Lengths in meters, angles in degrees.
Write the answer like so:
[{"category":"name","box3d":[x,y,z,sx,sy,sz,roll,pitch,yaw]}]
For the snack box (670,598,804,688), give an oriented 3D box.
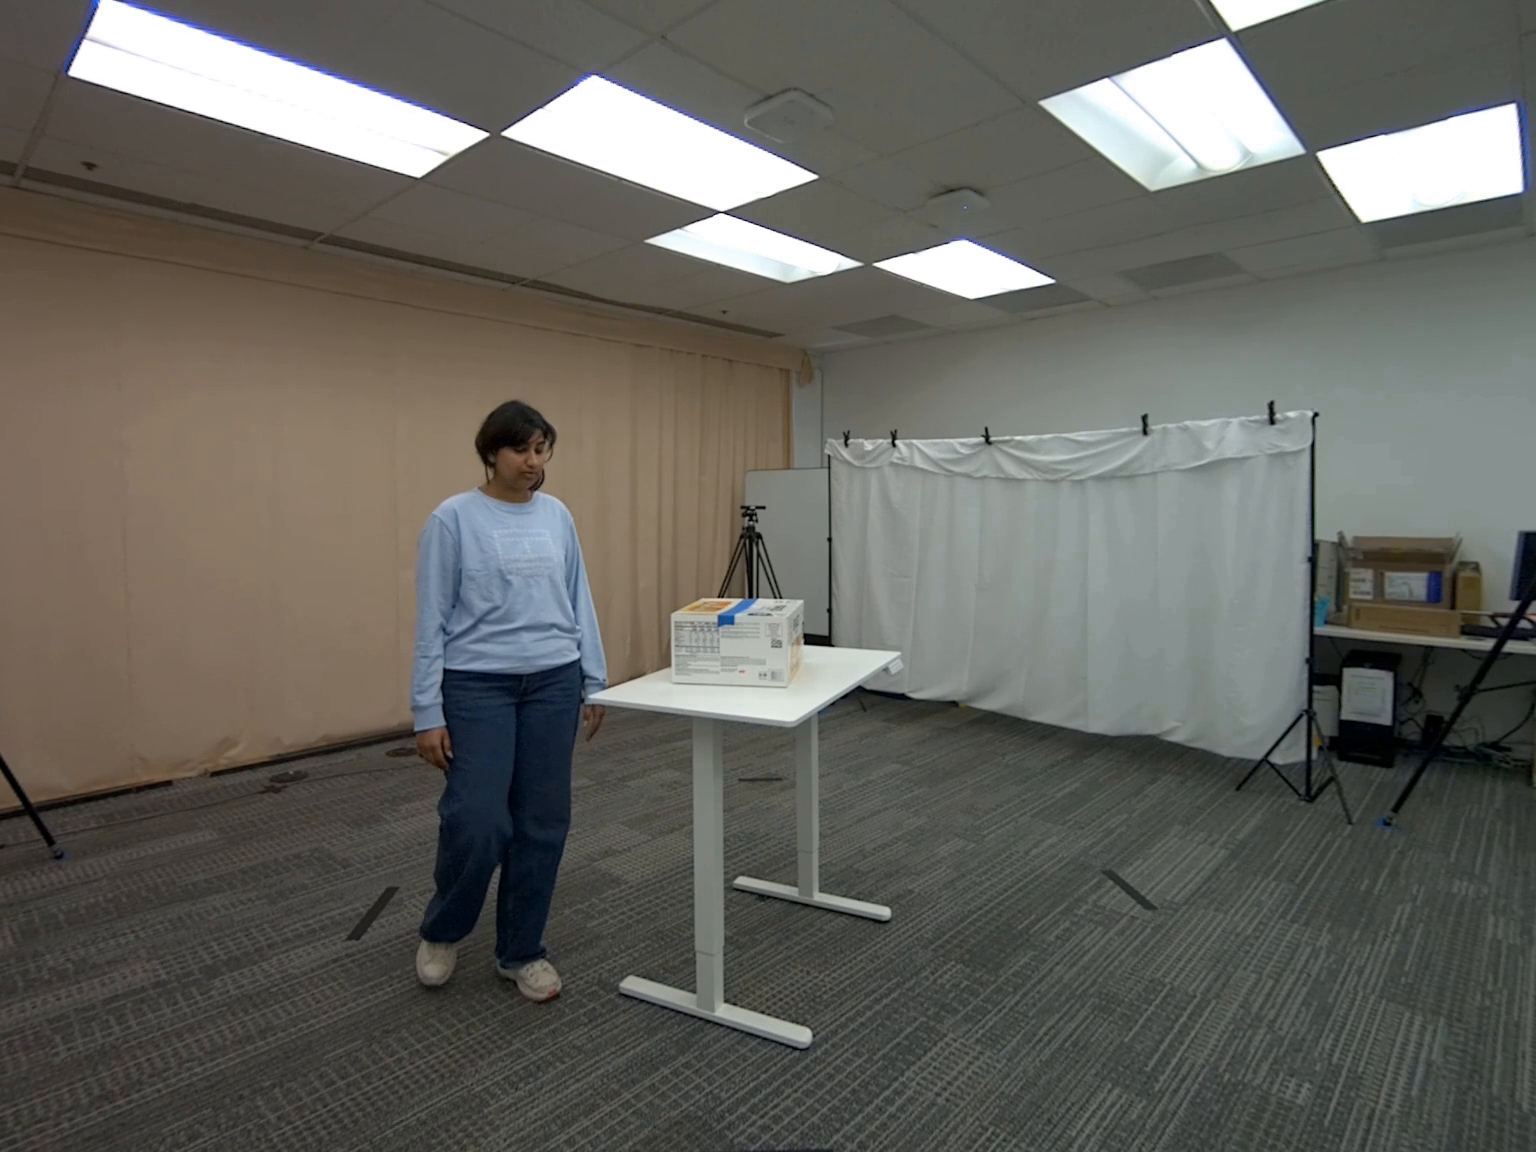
[{"category":"snack box","box3d":[-0.077,0.194,2.576,0.344,0.205,0.401,0,5,10]}]
